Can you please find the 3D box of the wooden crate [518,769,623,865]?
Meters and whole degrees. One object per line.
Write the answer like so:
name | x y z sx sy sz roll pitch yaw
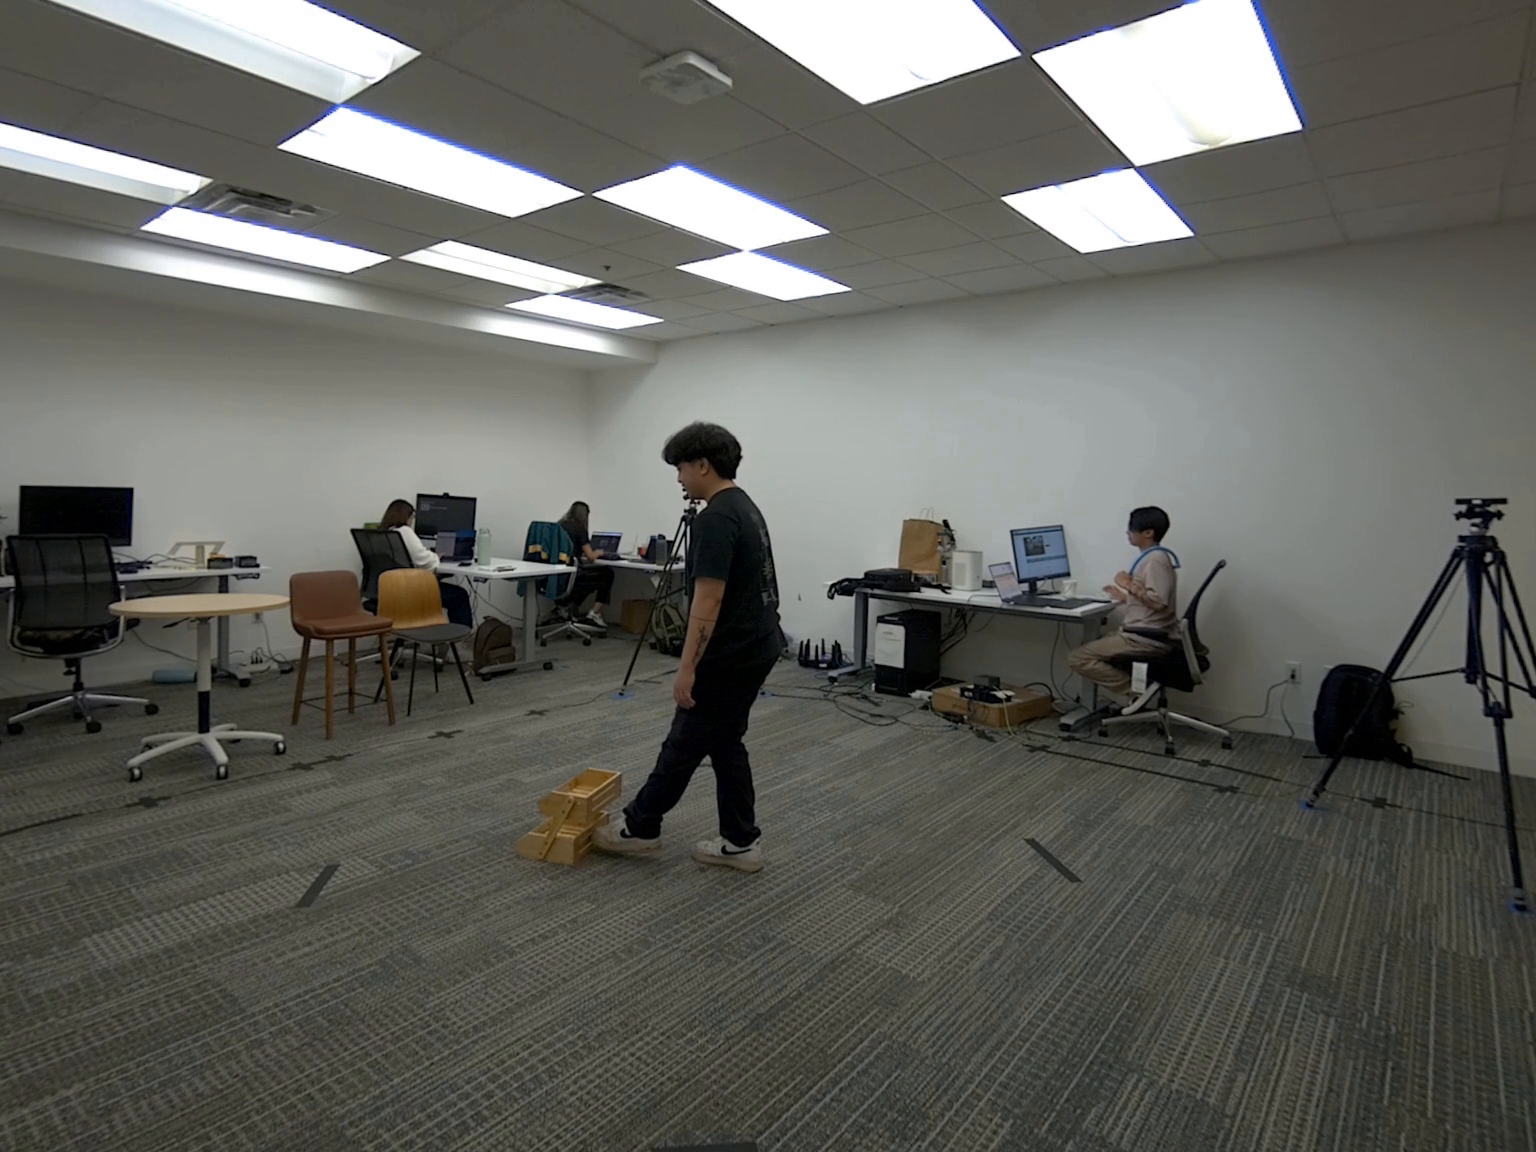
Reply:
wooden crate | -0.779 0.910 3.285 0.308 0.272 0.320 3 5 16
